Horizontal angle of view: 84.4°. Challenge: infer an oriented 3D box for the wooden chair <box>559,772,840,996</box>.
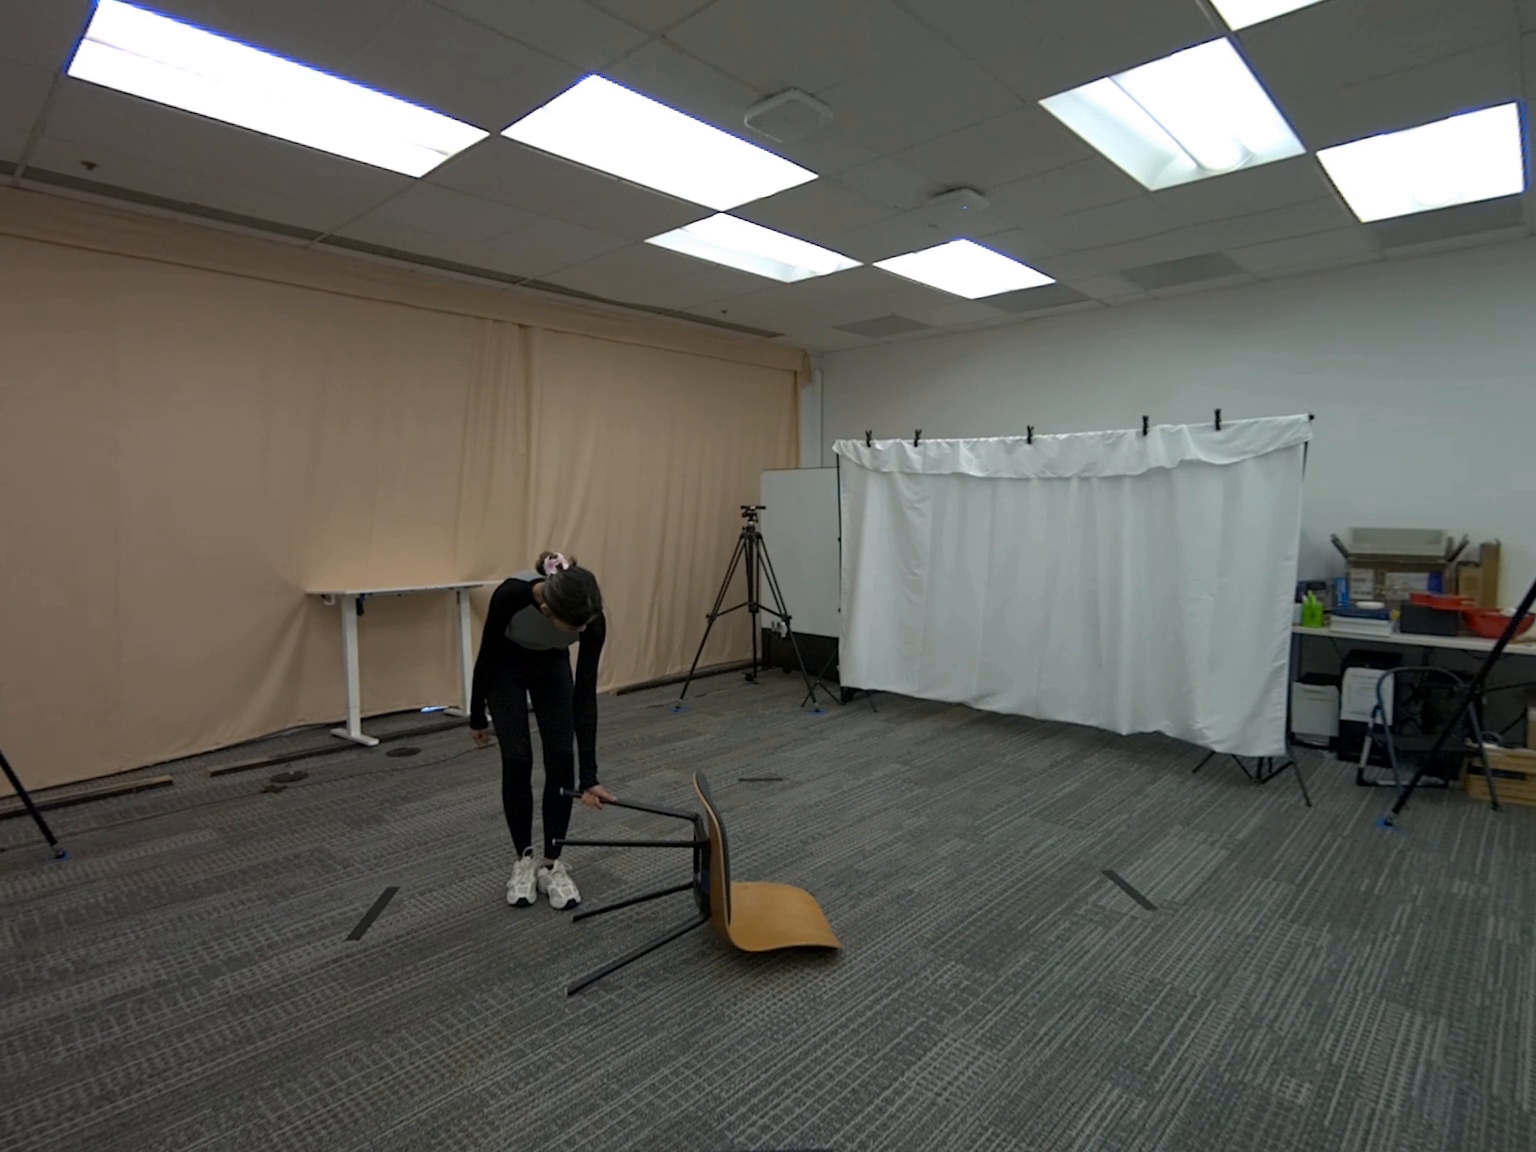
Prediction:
[{"bbox_3d":[-0.208,0.913,2.654,0.870,0.522,0.483,0,4,-8],"label":"wooden chair"}]
